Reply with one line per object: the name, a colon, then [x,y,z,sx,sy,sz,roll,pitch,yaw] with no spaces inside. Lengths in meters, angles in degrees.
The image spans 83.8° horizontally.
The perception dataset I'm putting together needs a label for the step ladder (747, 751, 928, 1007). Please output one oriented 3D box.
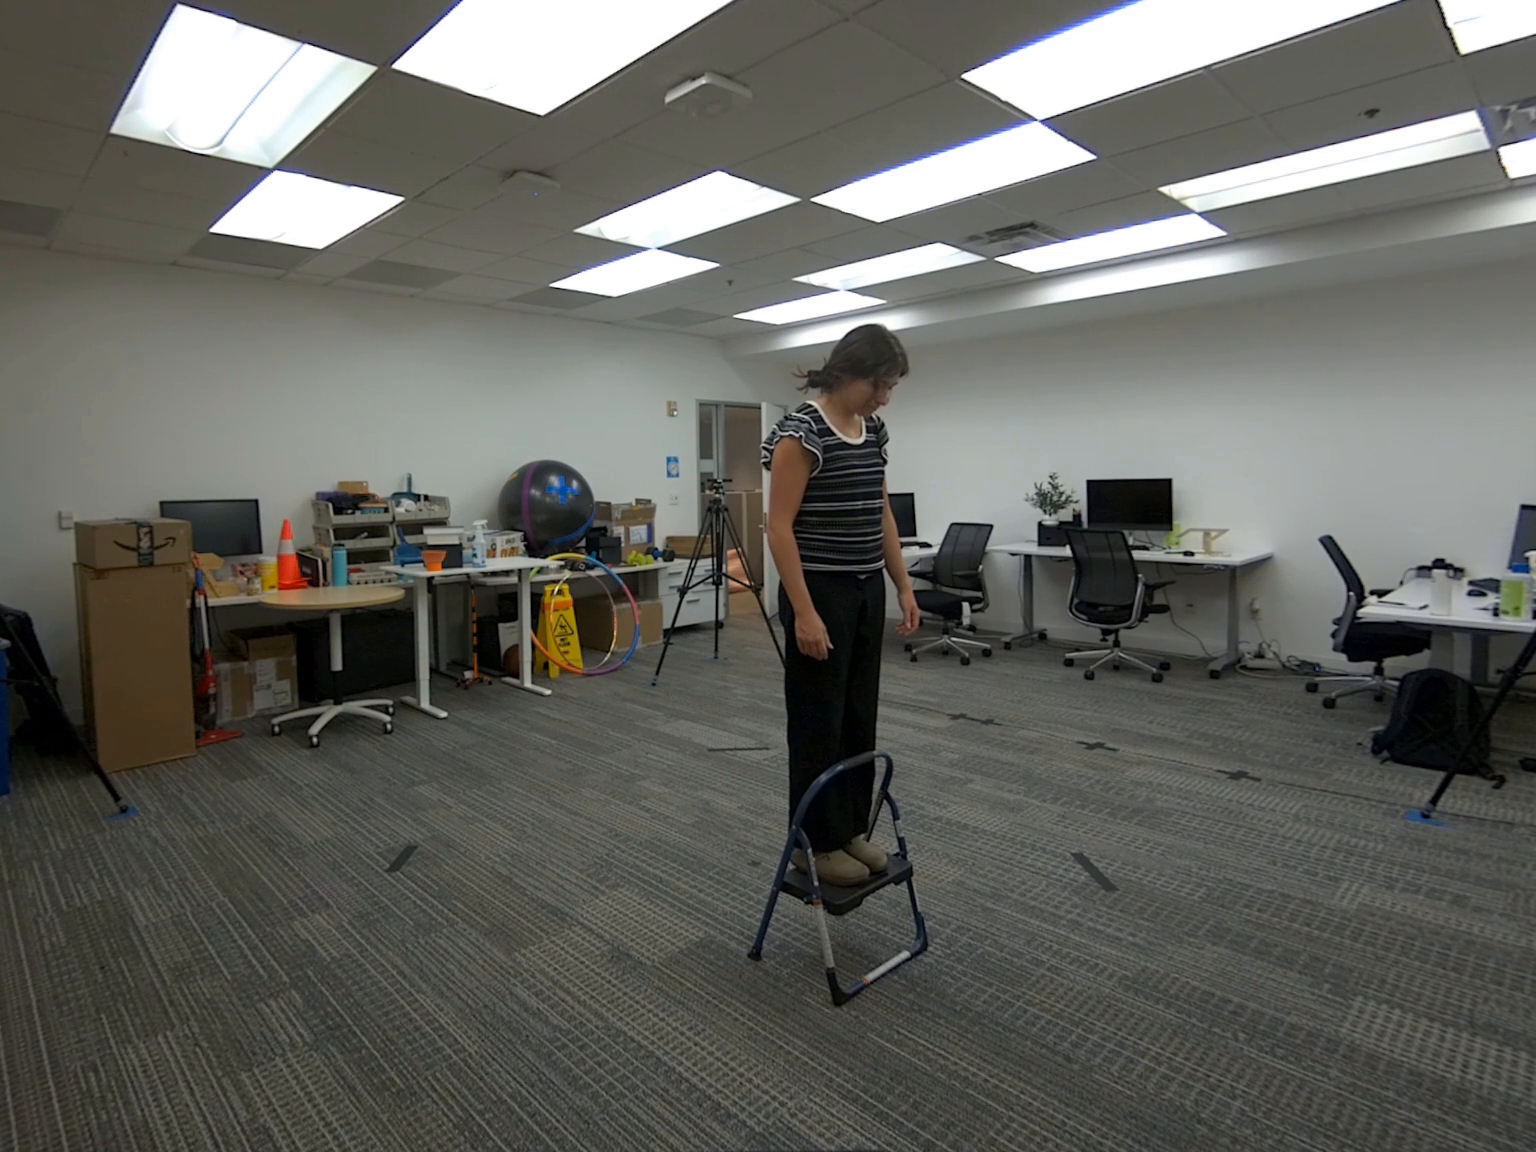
step ladder: [0.209,0.810,2.496,0.419,0.603,0.360,-6,7,-44]
